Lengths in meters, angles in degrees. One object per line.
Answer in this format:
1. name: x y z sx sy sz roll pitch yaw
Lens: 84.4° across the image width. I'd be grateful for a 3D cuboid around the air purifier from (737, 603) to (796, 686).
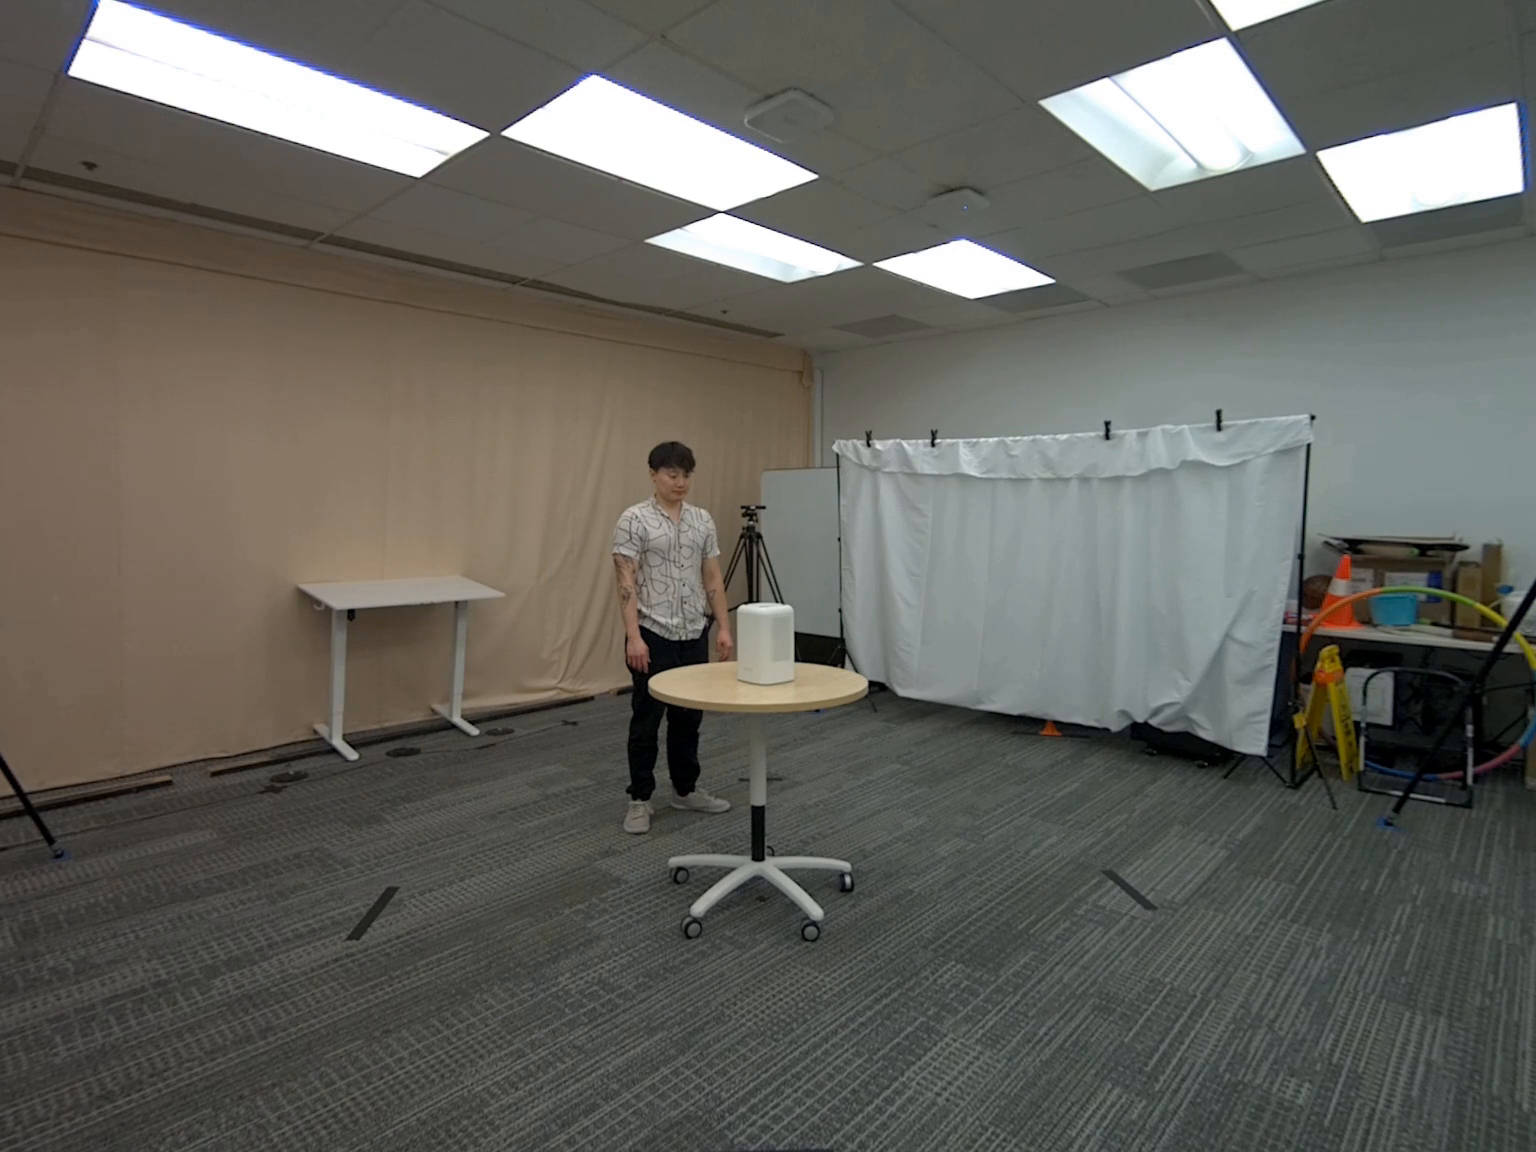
1. air purifier: -0.001 0.230 2.947 0.166 0.265 0.176 -3 4 -39
